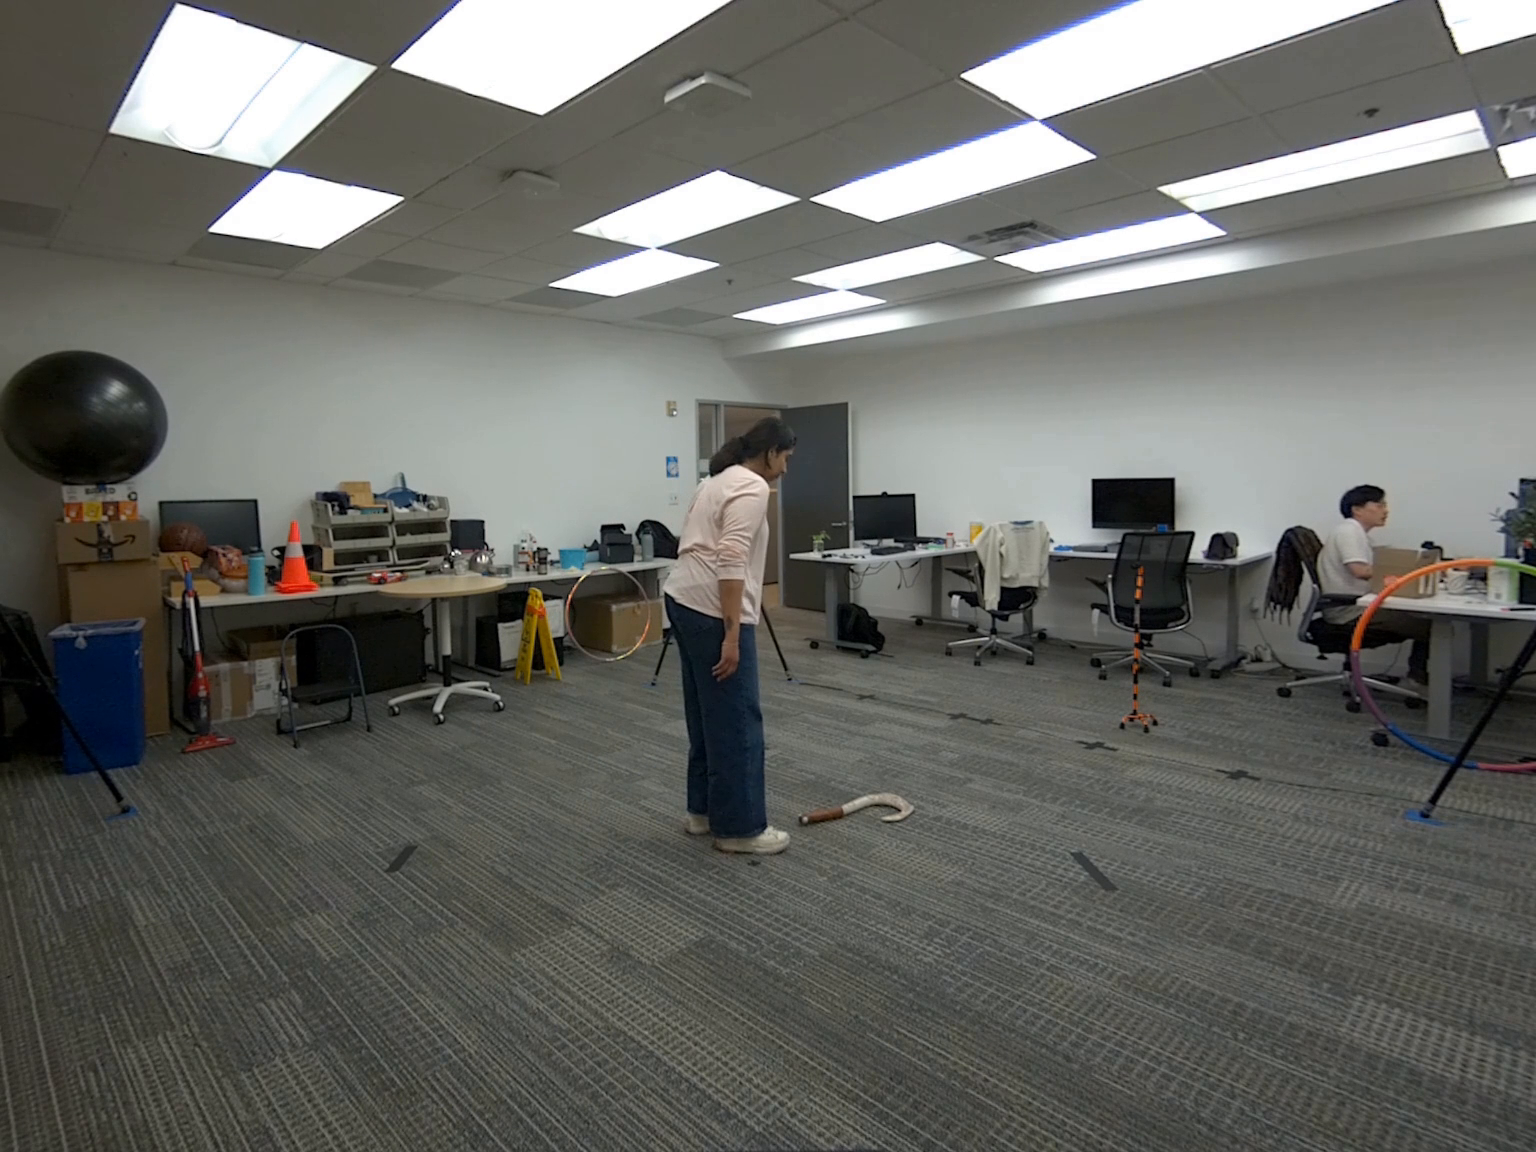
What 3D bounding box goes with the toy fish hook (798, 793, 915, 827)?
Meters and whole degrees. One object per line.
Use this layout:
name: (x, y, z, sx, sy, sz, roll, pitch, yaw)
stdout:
toy fish hook: (0.369, 0.968, 3.501, 0.495, 0.048, 0.231, -5, 8, -29)
